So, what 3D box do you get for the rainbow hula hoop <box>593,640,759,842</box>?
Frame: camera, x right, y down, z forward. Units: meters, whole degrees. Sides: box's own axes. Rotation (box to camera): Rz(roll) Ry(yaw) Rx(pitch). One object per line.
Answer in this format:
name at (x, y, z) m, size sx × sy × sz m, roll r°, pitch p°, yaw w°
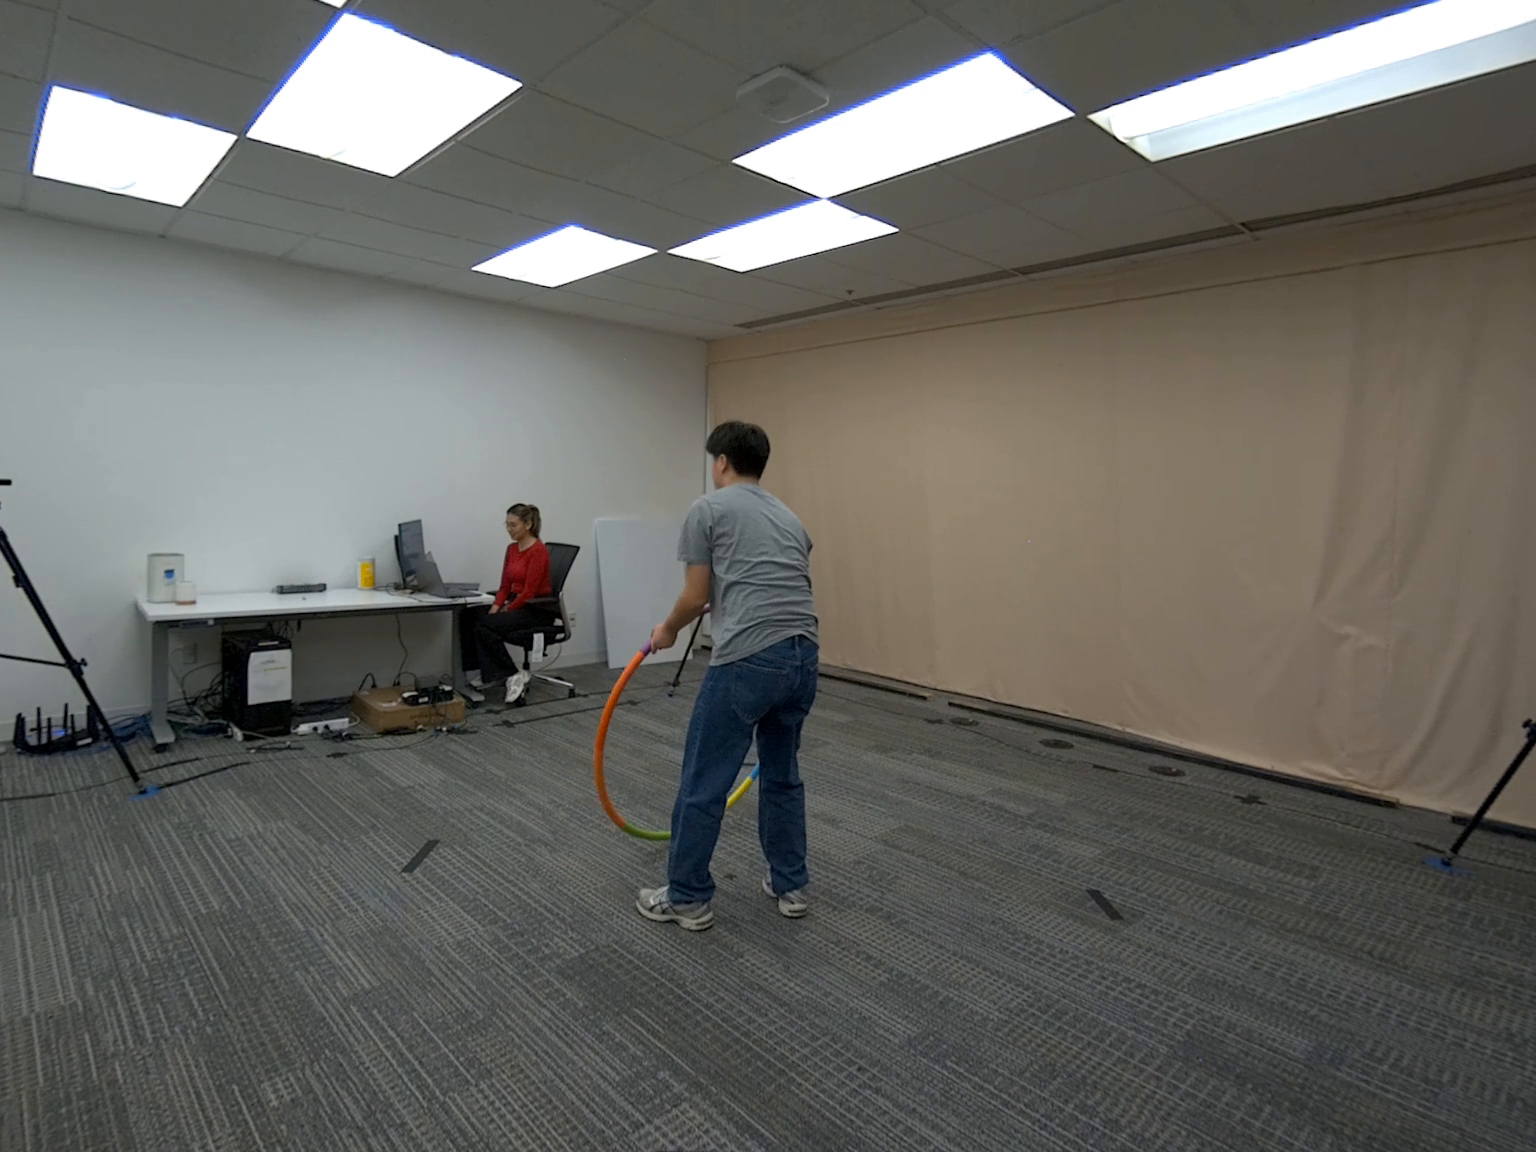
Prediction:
rainbow hula hoop at (-0.263, 0.574, 3.325) m, size 0.956 × 0.971 × 0.036 m, roll -3°, pitch 17°, yaw -44°
